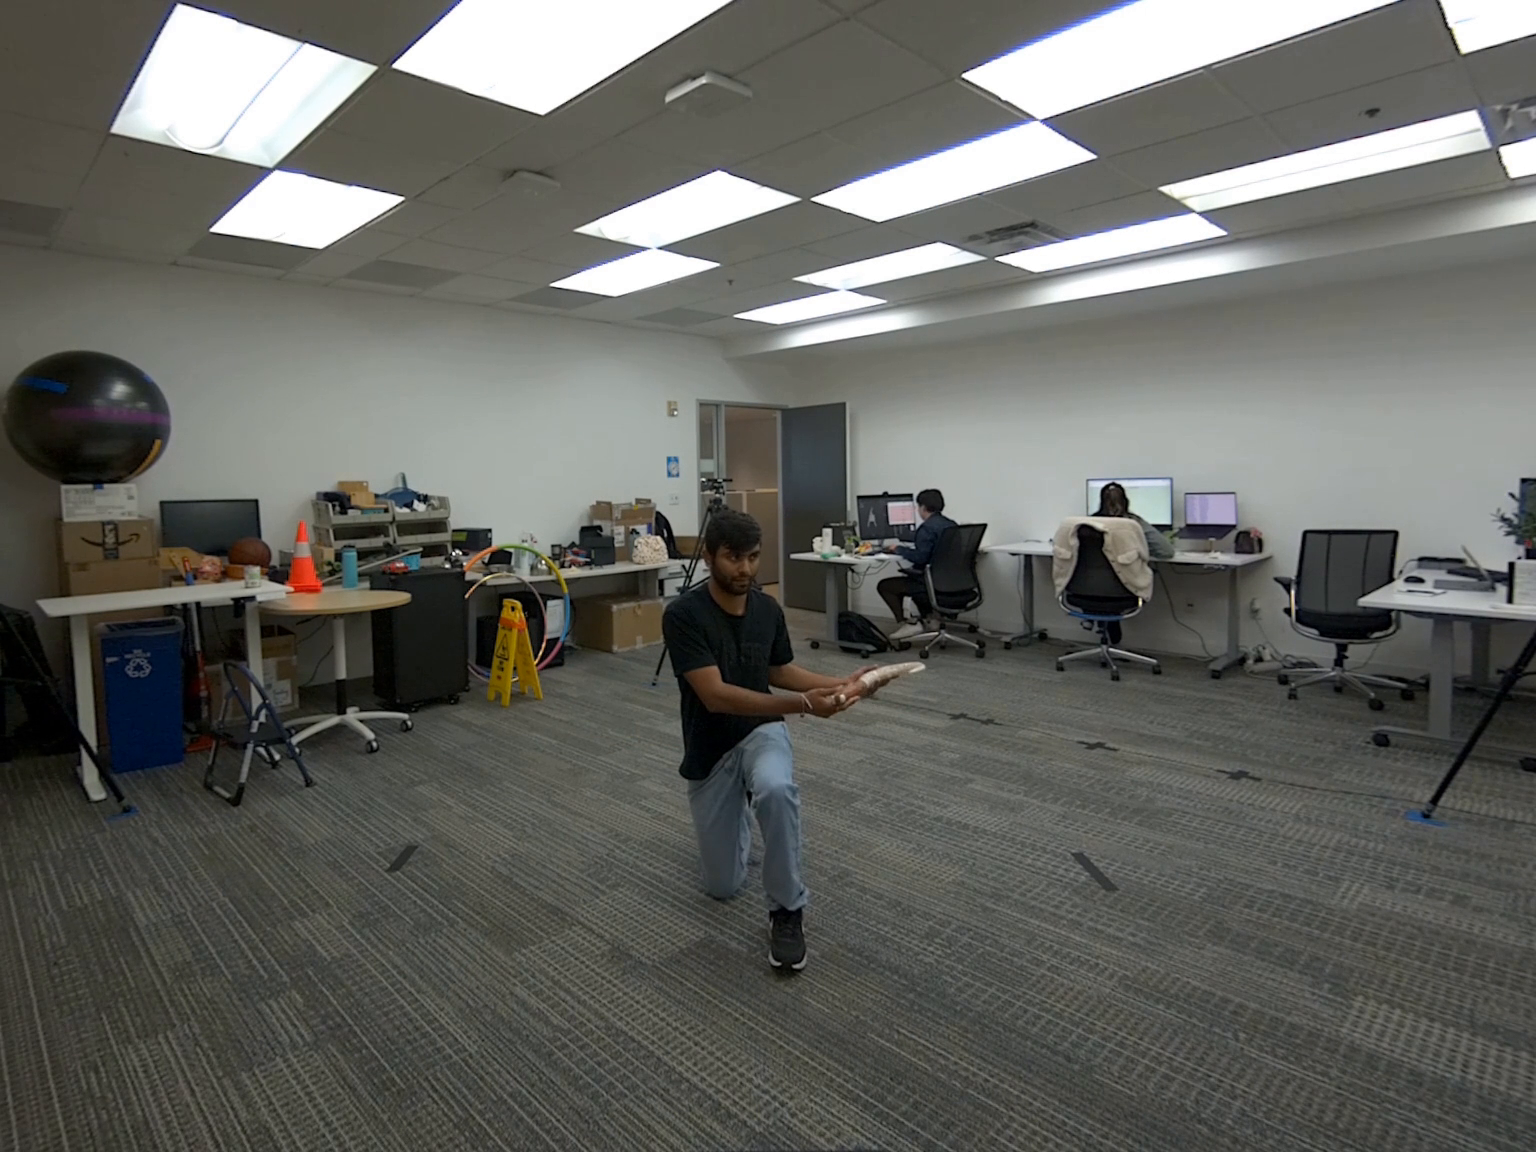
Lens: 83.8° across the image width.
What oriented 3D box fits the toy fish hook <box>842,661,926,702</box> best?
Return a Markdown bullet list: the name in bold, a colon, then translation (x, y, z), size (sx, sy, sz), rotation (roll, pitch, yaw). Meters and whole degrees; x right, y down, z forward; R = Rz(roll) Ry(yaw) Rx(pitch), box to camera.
- **toy fish hook**: translation (0.348, 0.331, 2.697), size (0.227, 0.049, 0.496), rotation (-22, -5, 25)
